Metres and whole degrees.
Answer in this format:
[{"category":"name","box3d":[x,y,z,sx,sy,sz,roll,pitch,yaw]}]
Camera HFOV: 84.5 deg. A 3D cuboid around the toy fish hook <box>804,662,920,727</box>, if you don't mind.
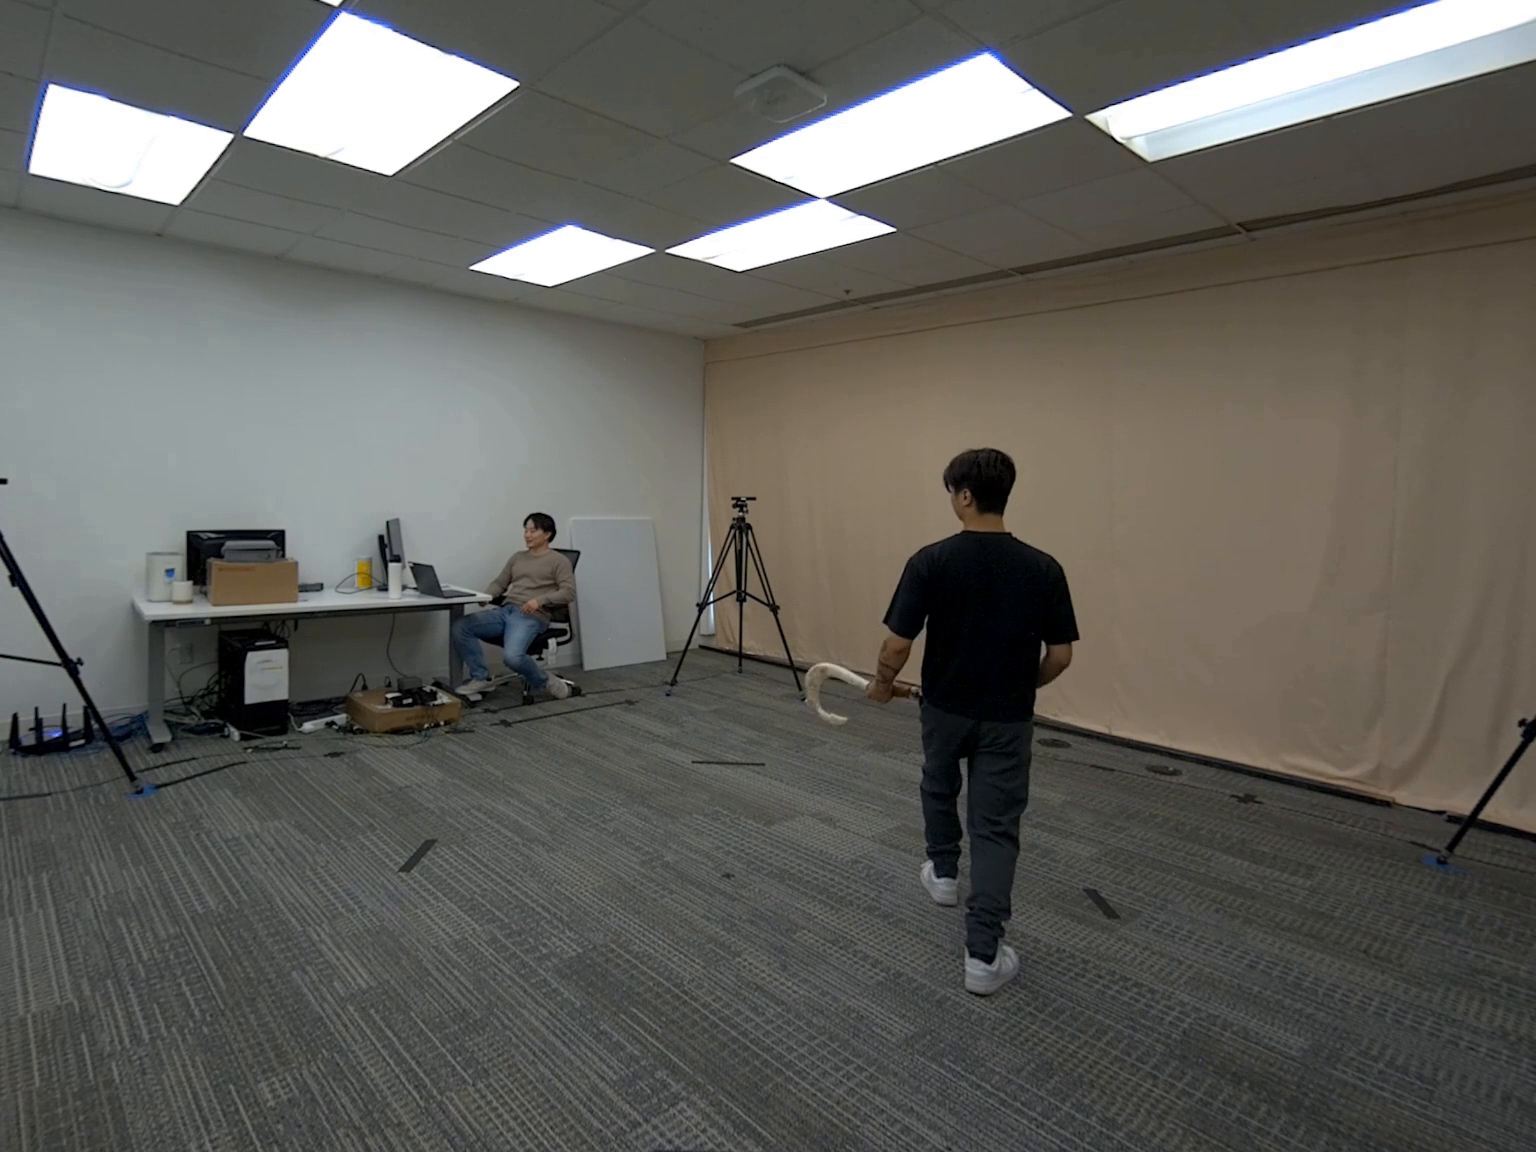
[{"category":"toy fish hook","box3d":[0.336,0.434,3.010,0.047,0.223,0.519,-8,8,-43]}]
